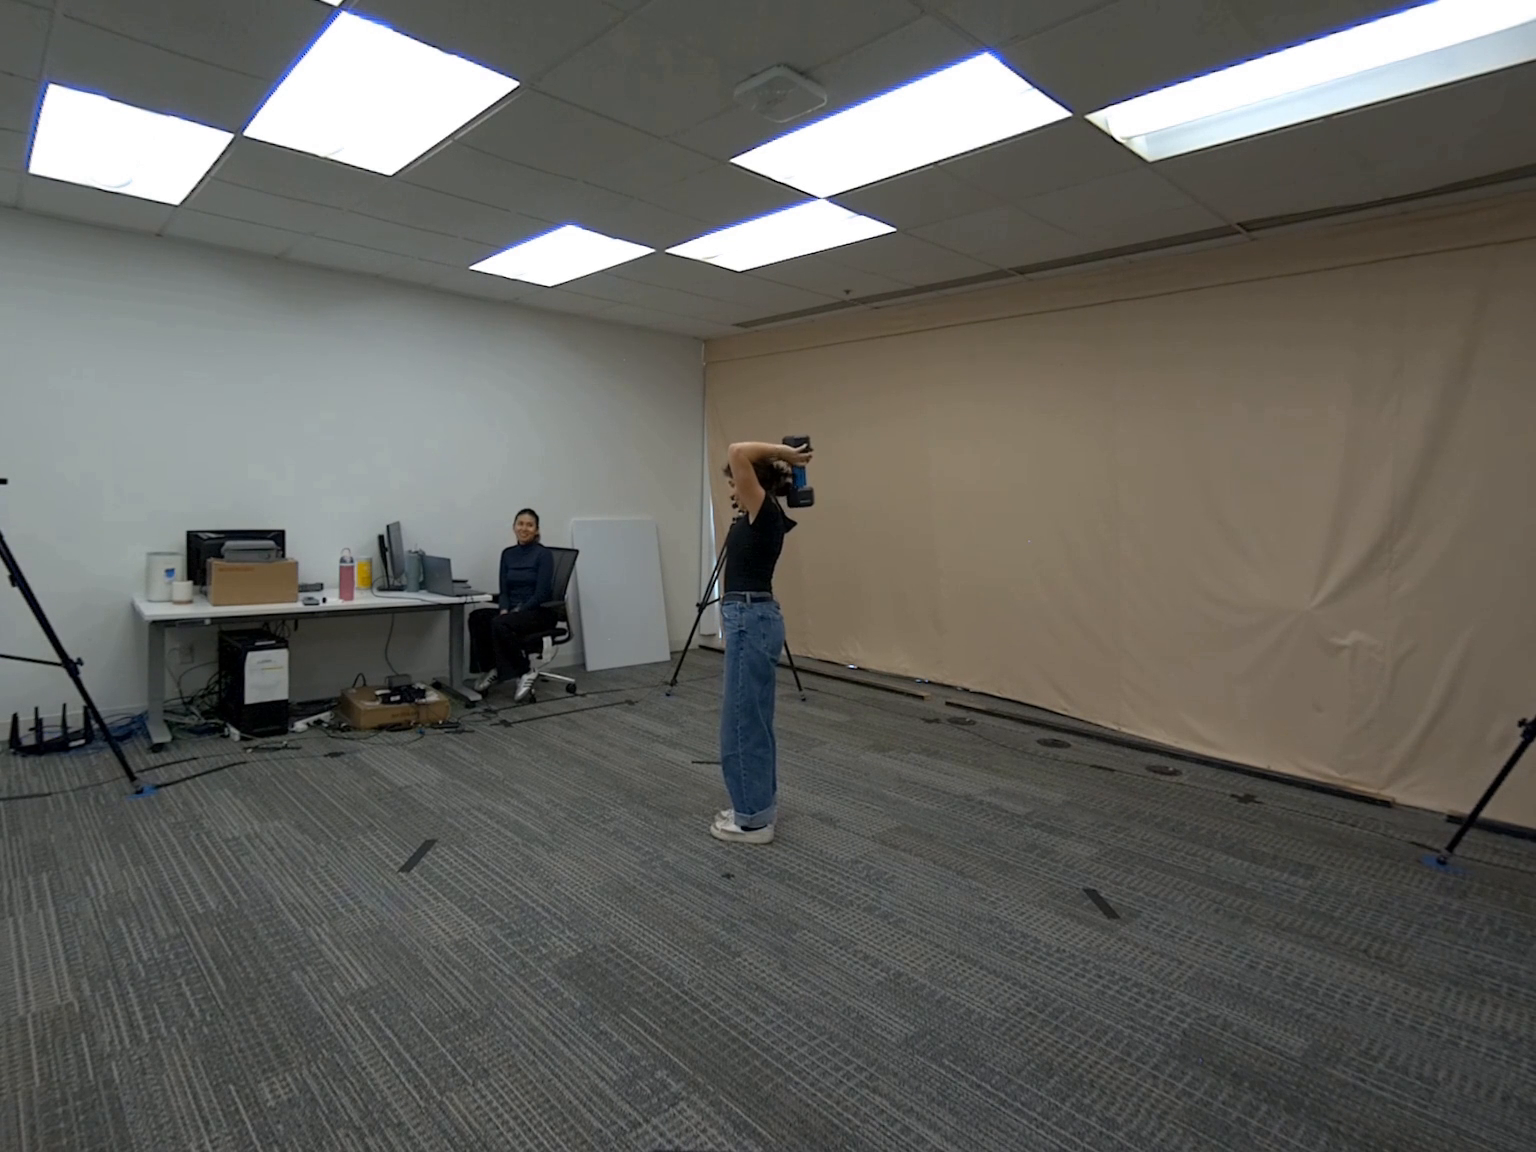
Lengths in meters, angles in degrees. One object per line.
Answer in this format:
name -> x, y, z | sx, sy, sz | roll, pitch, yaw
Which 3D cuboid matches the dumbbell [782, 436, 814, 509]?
dumbbell -> 0.115, -0.432, 3.433 | 0.106, 0.292, 0.126 | -9, 6, -40
